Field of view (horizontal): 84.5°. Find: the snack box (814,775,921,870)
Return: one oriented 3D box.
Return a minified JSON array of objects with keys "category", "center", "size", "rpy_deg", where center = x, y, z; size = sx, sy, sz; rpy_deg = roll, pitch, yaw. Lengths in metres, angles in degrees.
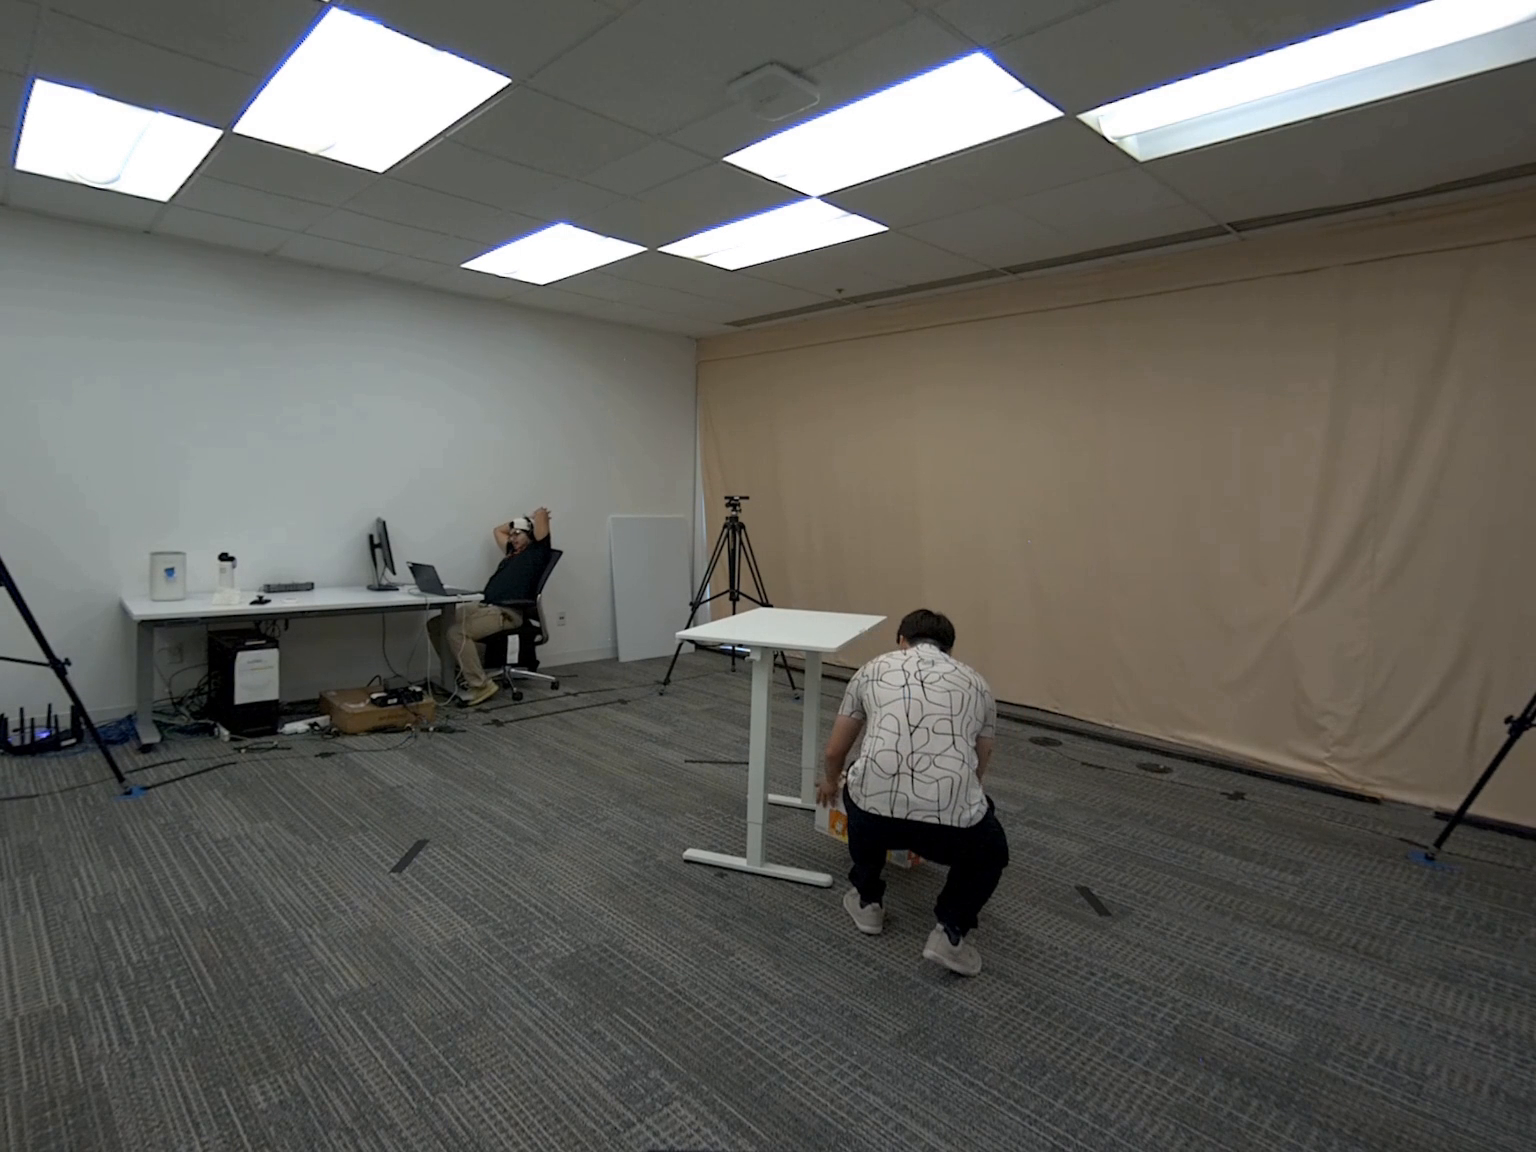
[{"category":"snack box","center":[0.446,0.885,3.164],"size":[0.416,0.205,0.333],"rpy_deg":[9,8,42]}]
